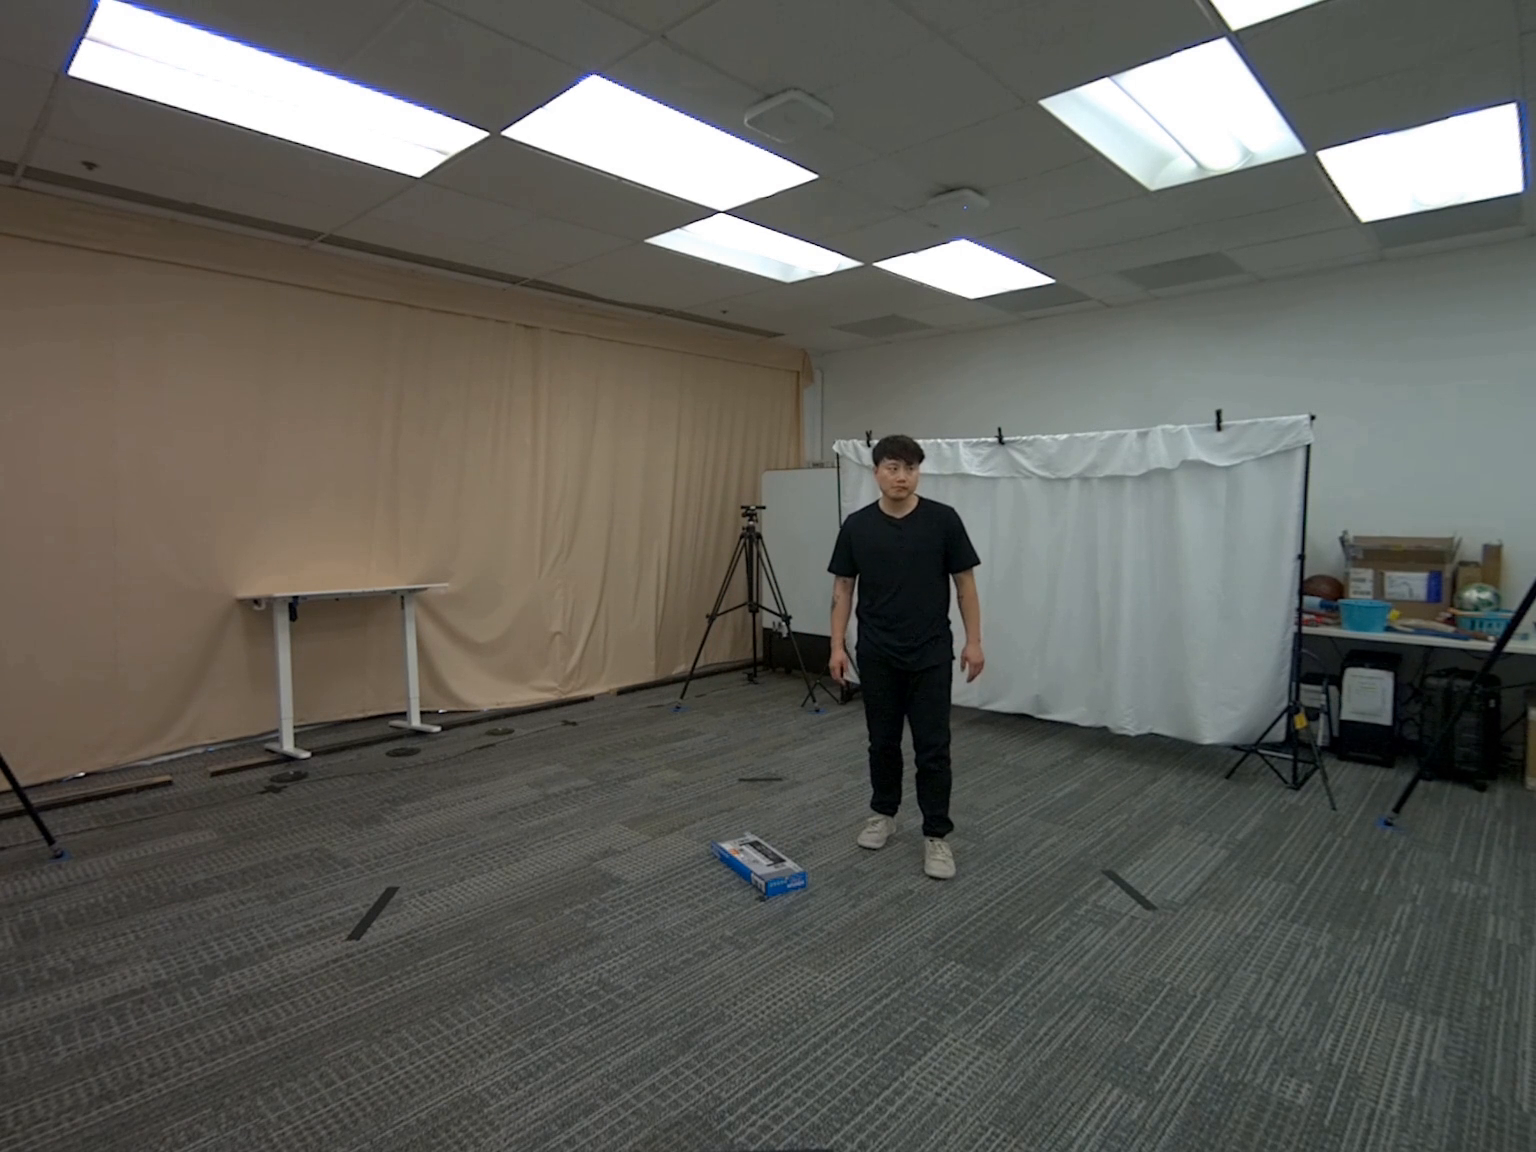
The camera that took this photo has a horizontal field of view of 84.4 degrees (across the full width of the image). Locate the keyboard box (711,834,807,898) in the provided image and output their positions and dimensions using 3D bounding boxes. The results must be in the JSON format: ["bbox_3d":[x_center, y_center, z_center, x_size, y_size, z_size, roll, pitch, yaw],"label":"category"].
[{"bbox_3d":[-0.046,1.093,3.220,0.171,0.059,0.449,-4,6,-30],"label":"keyboard box"}]
